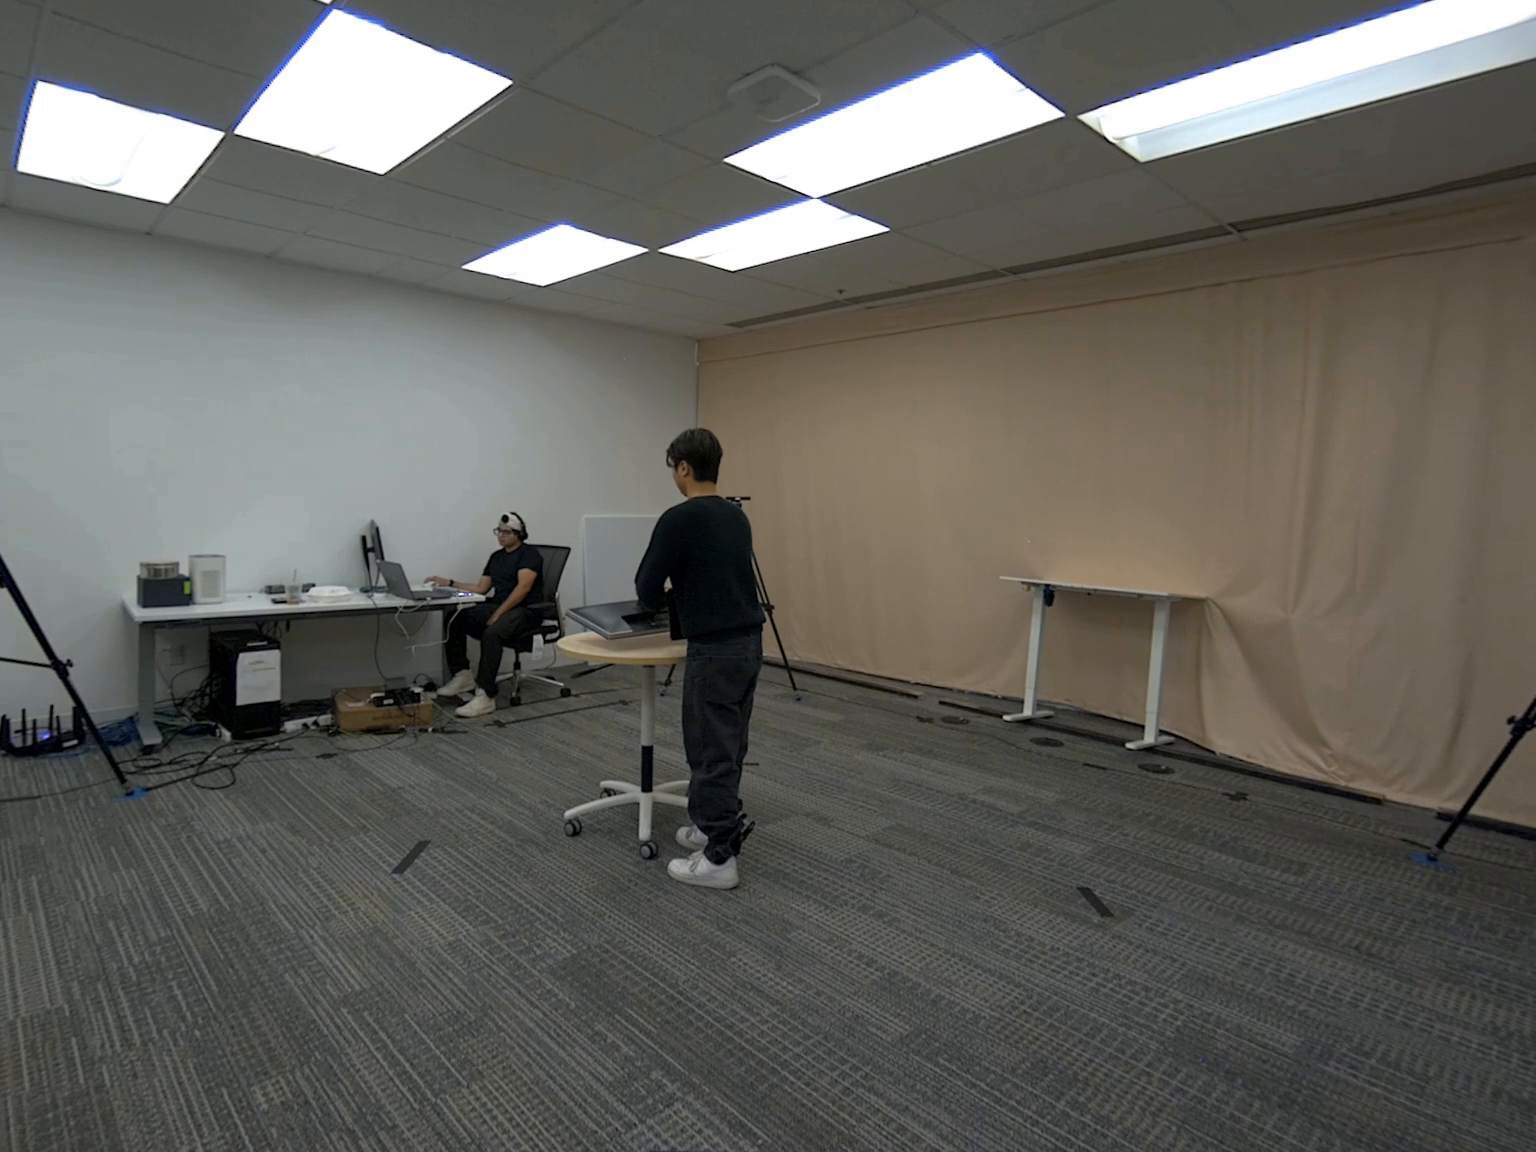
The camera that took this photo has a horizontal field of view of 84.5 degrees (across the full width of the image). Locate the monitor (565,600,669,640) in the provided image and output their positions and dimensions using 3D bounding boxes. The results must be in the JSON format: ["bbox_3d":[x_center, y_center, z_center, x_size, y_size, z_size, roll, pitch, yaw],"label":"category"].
[{"bbox_3d":[-0.476,0.141,3.508,0.527,0.187,0.535,-1,2,-39],"label":"monitor"}]
